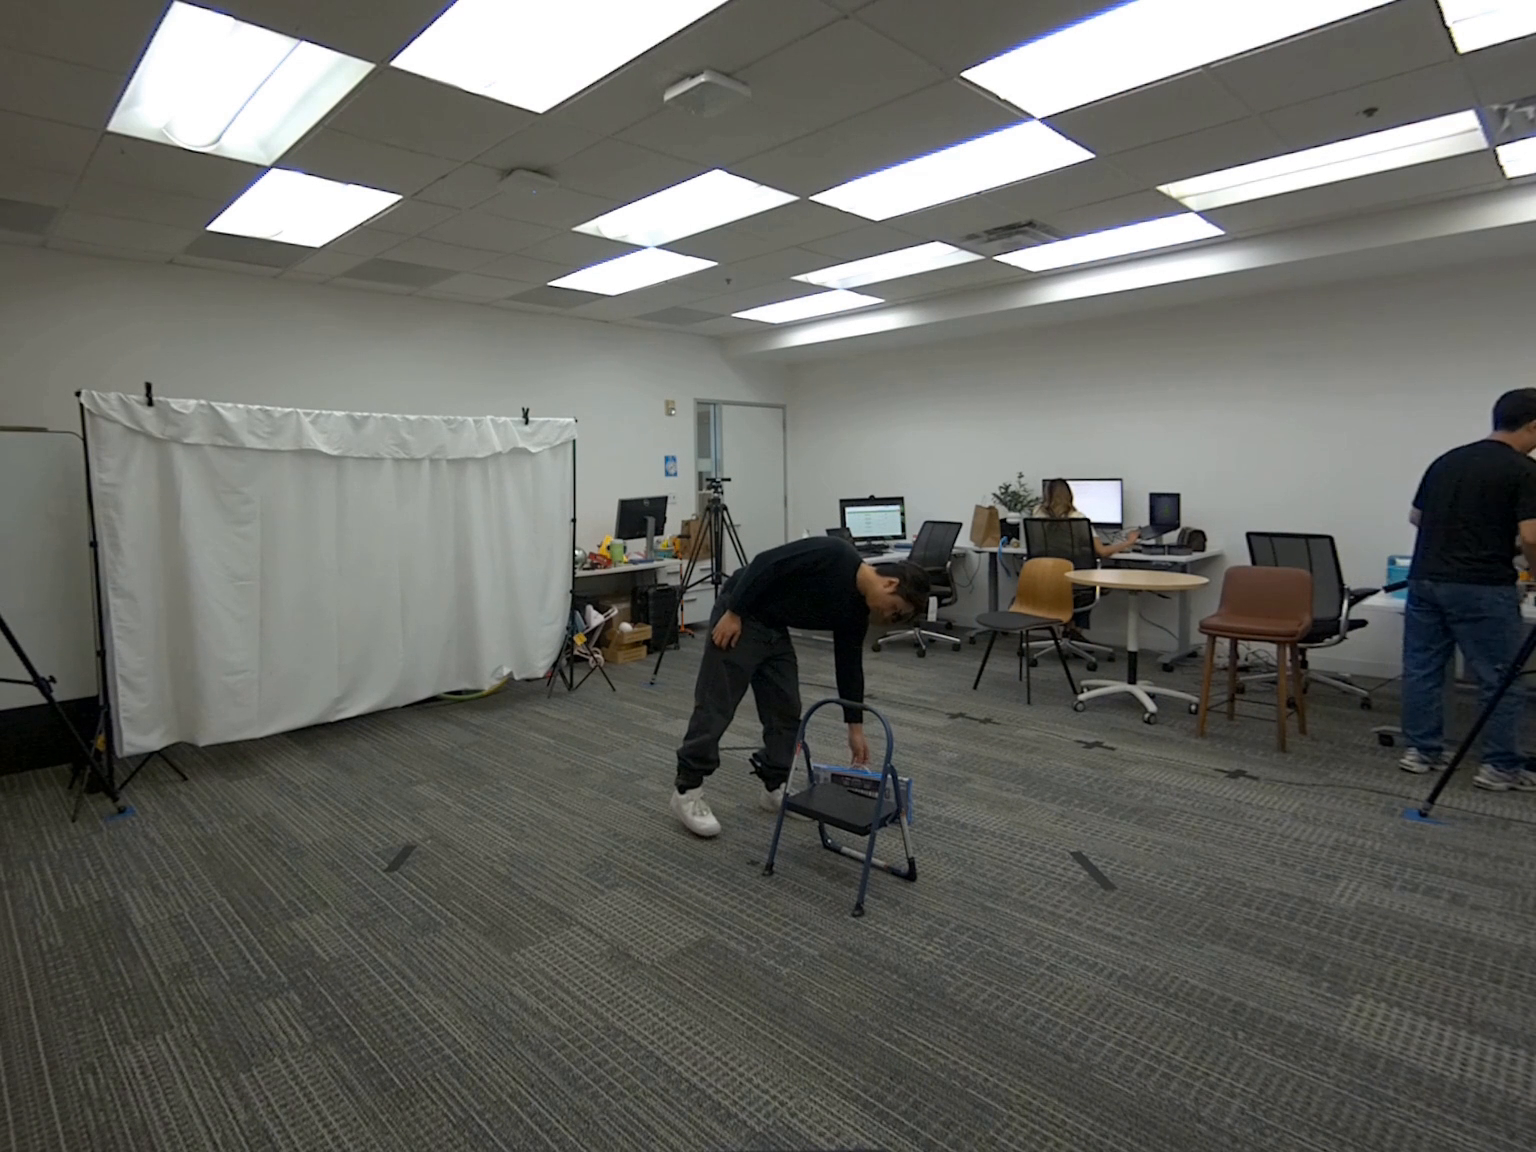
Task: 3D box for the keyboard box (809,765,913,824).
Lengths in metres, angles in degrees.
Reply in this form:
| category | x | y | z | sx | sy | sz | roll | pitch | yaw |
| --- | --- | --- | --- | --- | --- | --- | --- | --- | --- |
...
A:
| category | x | y | z | sx | sy | sz | roll | pitch | yaw |
| --- | --- | --- | --- | --- | --- | --- | --- | --- | --- |
| keyboard box | 0.376 | 0.892 | 3.532 | 0.448 | 0.176 | 0.057 | 3 | -1 | 28 |
